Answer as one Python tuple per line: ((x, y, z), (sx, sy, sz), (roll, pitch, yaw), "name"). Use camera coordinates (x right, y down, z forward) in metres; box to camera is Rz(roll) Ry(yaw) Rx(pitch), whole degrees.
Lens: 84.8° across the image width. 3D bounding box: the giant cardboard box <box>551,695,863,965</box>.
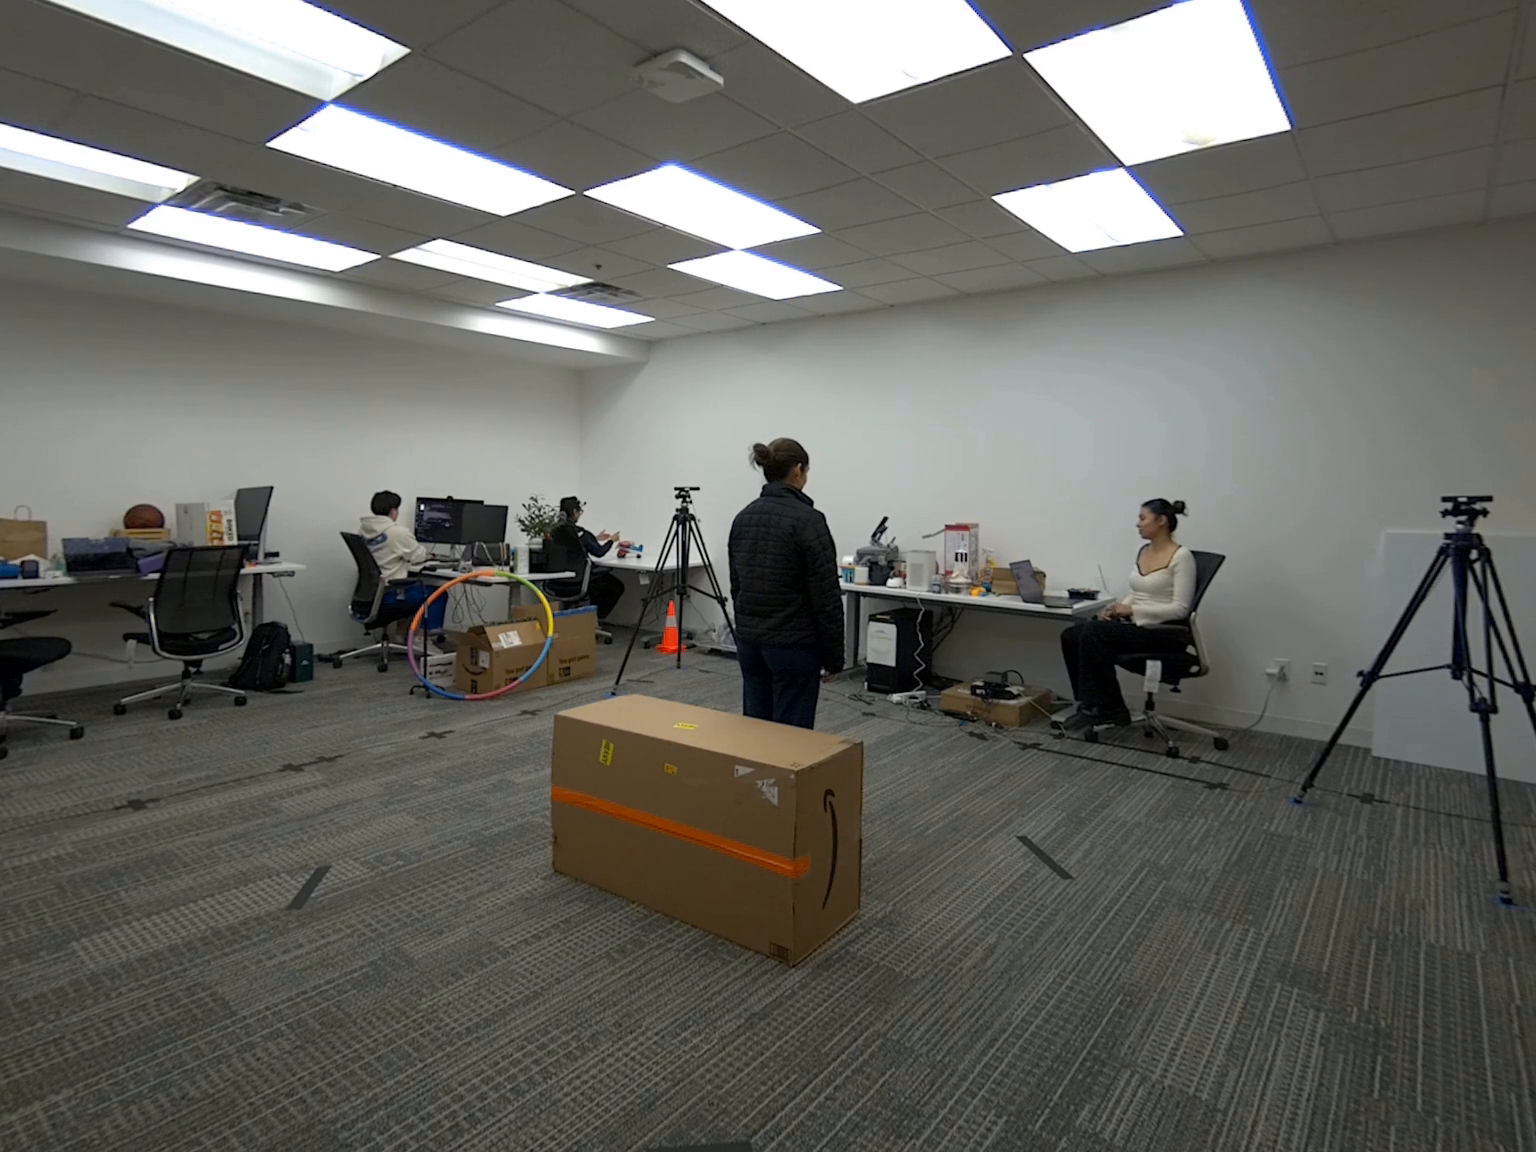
((-0.223, 0.797, 2.933), (1.059, 0.576, 0.413), (4, 4, 36), "giant cardboard box")
